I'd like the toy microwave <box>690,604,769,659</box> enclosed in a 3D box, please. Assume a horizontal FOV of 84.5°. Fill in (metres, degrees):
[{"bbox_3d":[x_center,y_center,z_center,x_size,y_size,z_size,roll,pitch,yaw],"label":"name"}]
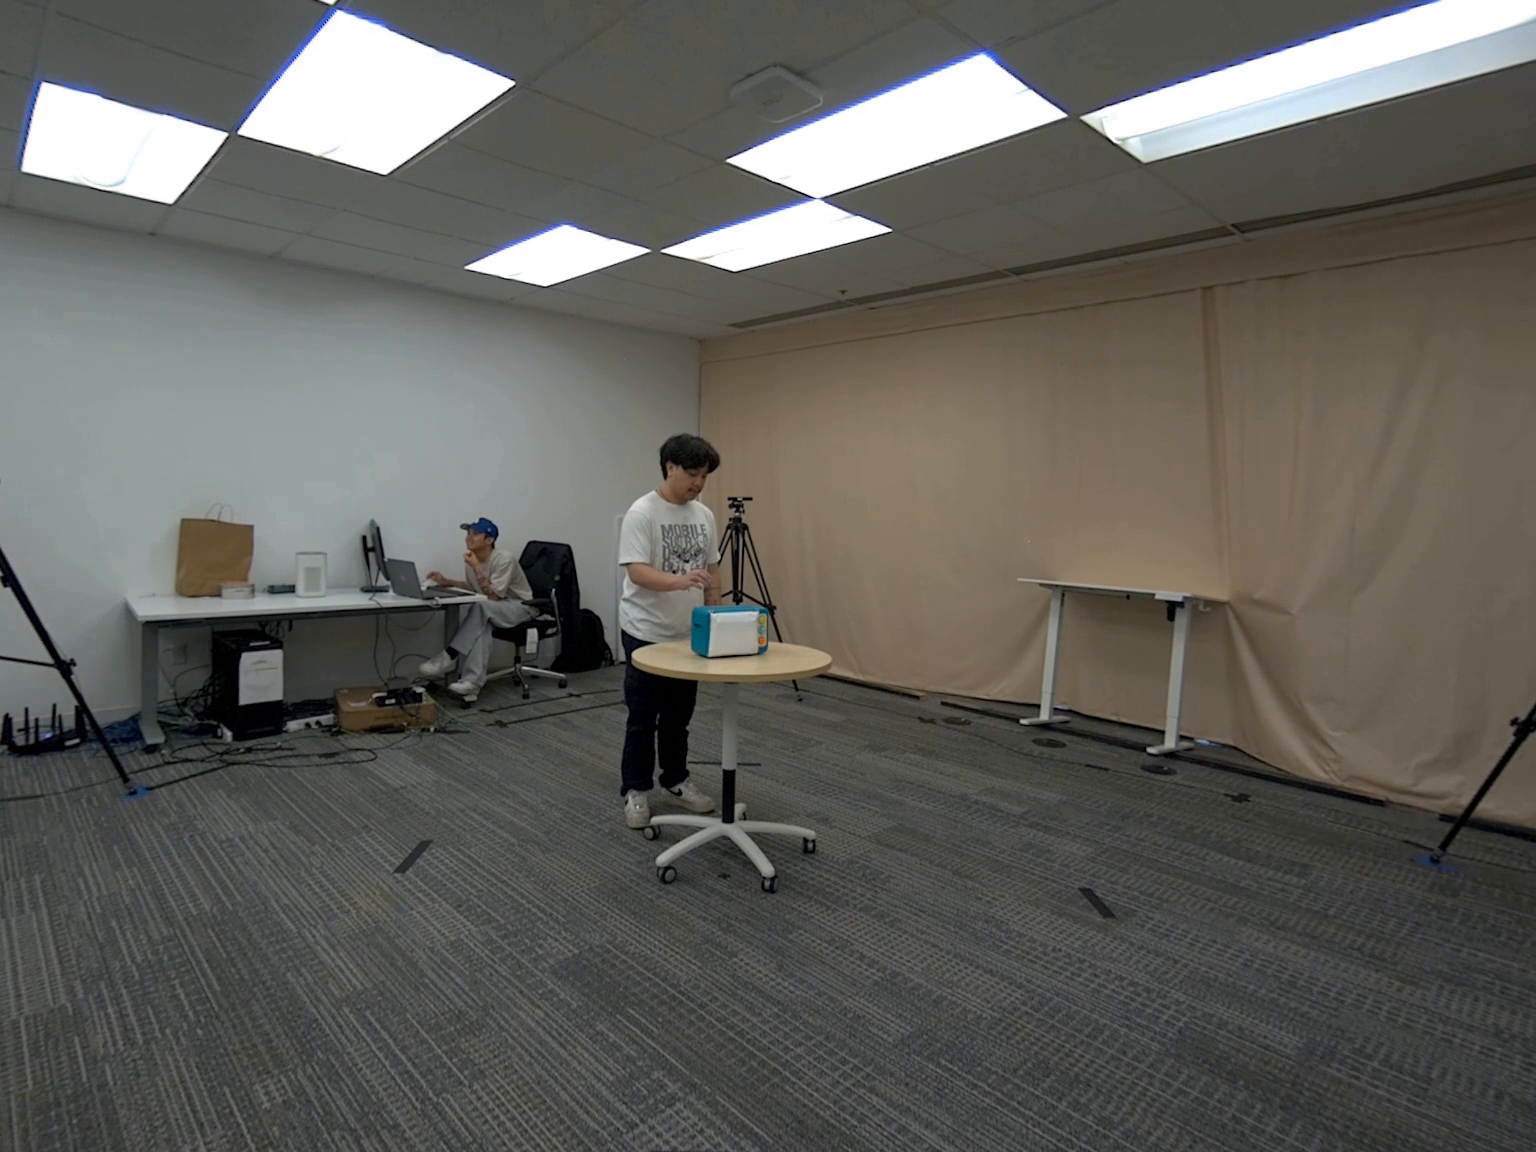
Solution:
[{"bbox_3d":[-0.148,0.211,3.236,0.280,0.184,0.156,-1,4,-30],"label":"toy microwave"}]
